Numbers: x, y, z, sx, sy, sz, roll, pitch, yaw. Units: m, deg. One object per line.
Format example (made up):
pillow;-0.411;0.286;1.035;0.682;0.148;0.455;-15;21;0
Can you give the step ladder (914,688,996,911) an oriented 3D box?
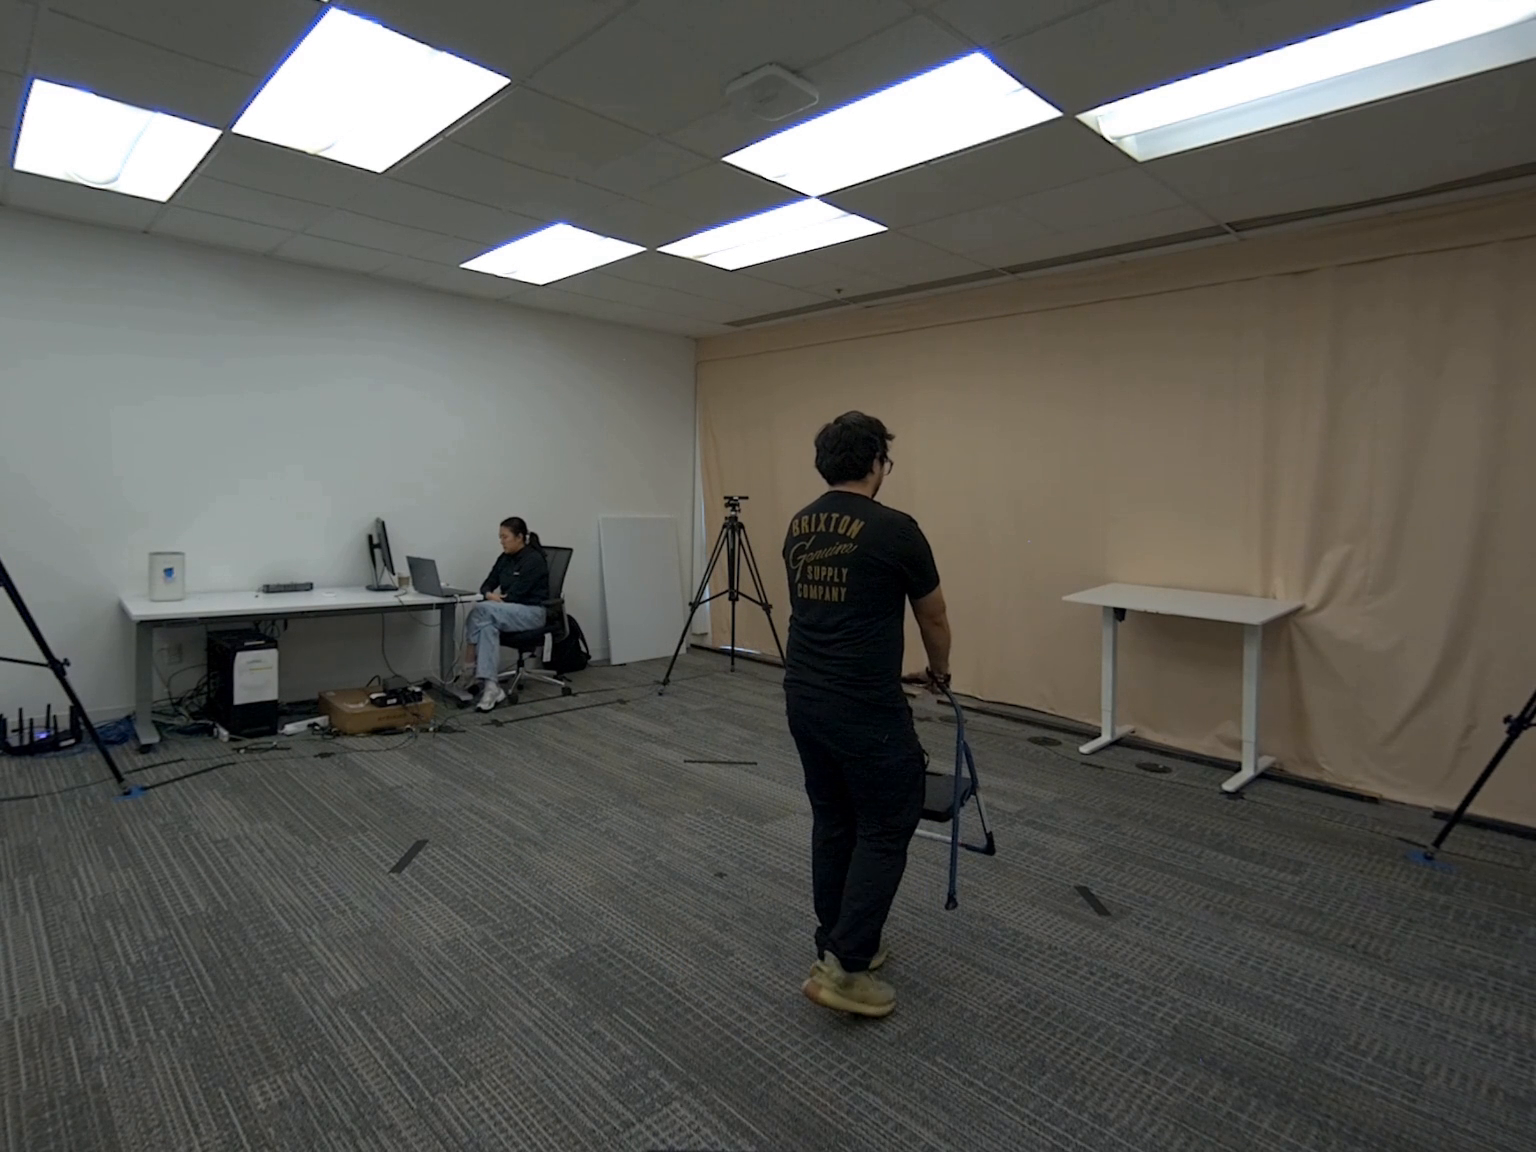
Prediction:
step ladder;0.438;0.639;2.666;0.441;0.601;0.344;1;13;39
